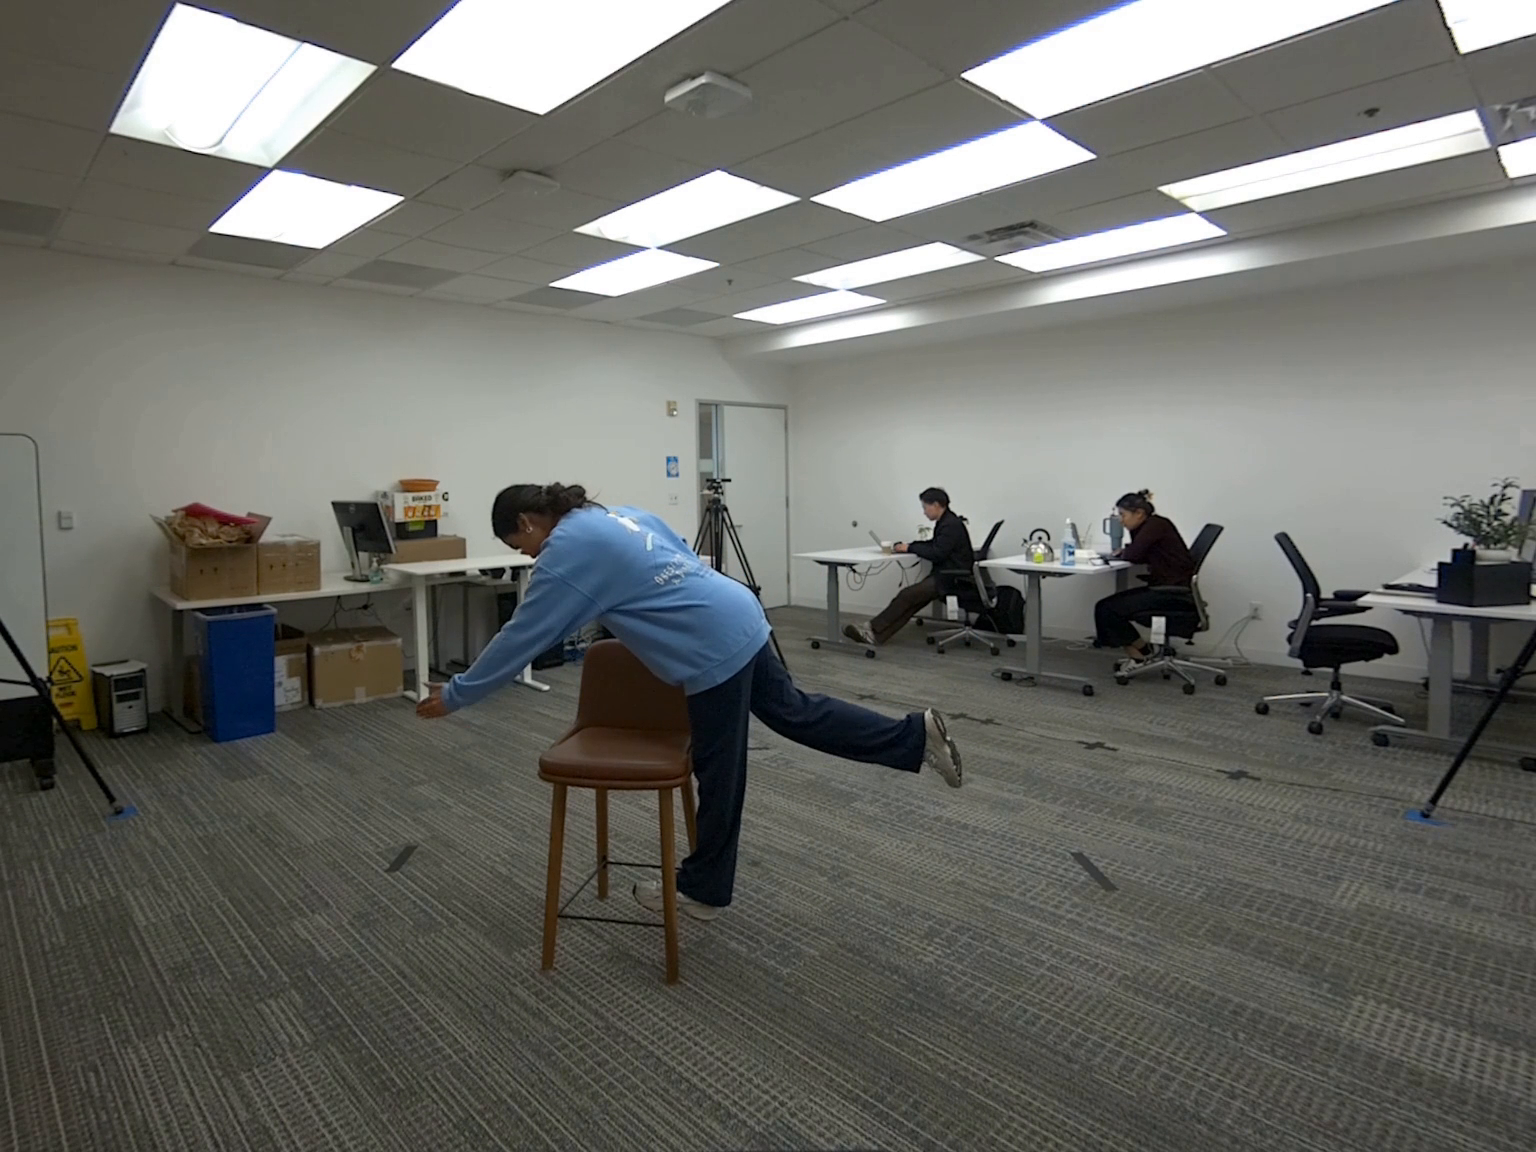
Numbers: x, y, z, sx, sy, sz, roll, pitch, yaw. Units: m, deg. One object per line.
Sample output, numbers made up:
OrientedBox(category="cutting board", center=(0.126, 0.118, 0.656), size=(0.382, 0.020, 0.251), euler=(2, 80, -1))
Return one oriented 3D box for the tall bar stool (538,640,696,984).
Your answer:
OrientedBox(category="tall bar stool", center=(-0.422, 0.674, 2.603), size=(0.462, 0.888, 0.463), euler=(0, 3, 11))
